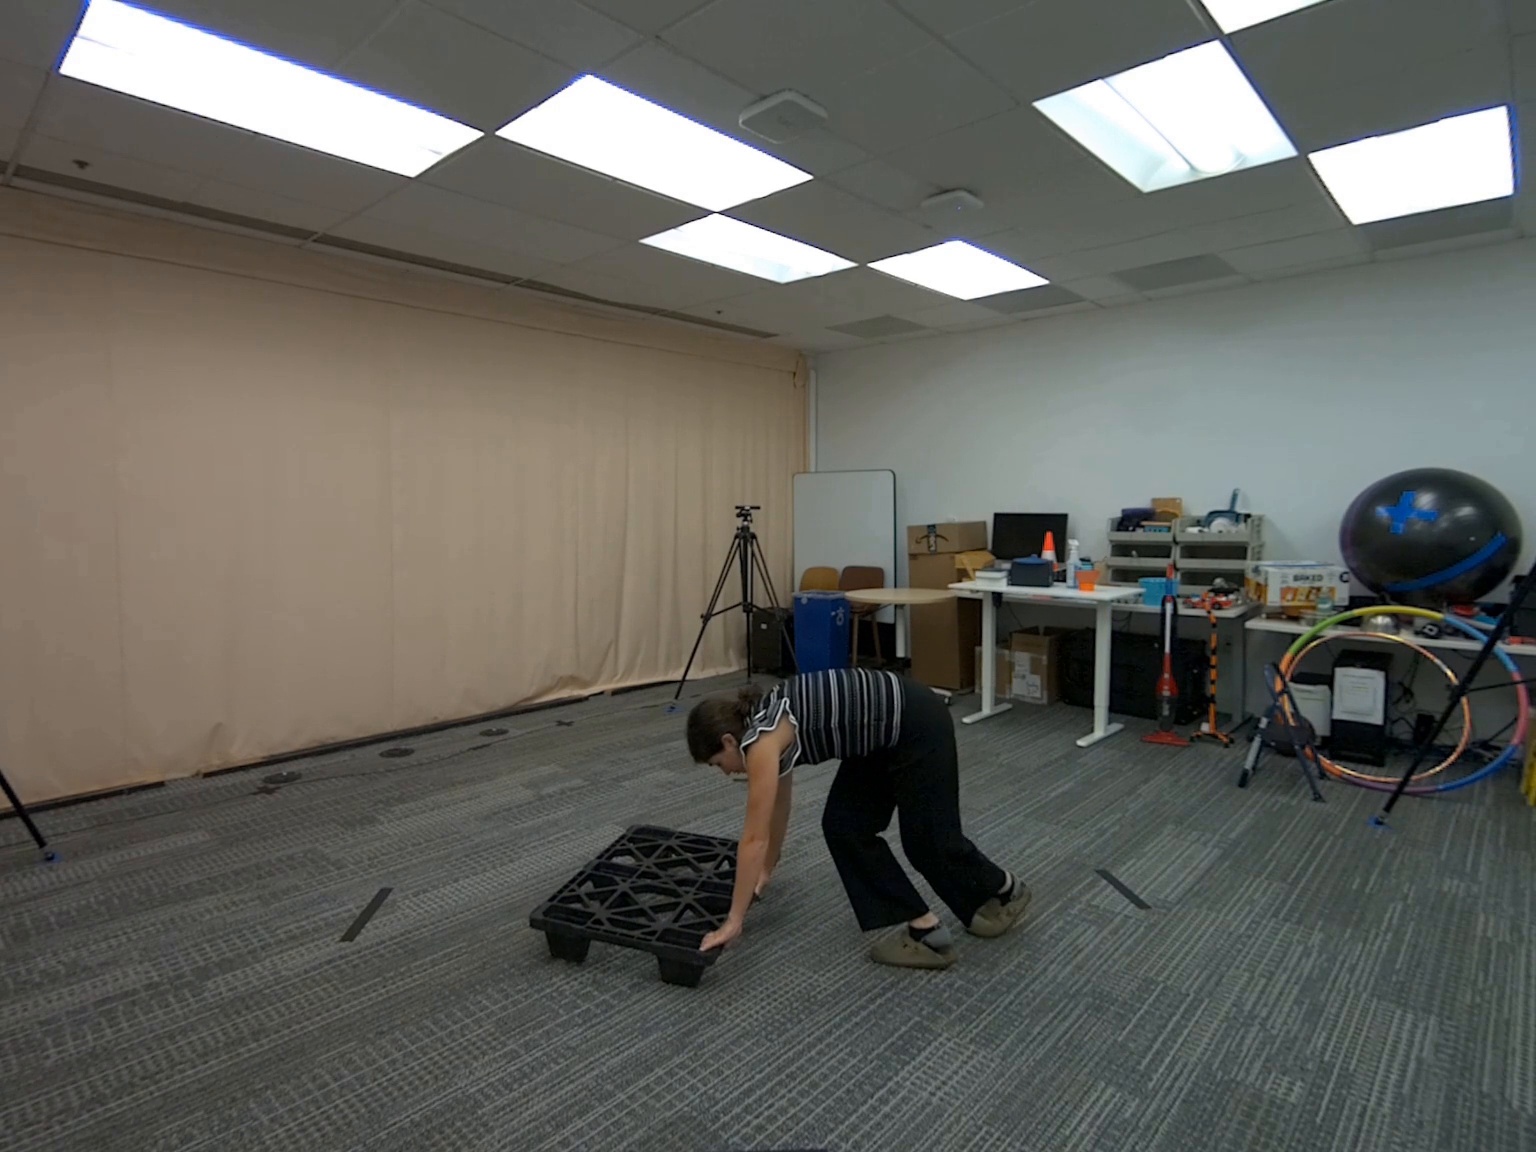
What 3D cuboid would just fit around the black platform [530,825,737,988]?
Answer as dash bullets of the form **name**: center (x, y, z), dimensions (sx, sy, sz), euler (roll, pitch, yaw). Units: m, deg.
- **black platform**: center (-0.343, 1.083, 2.842), dimensions (0.616, 0.143, 0.793), euler (2, 5, 16)
